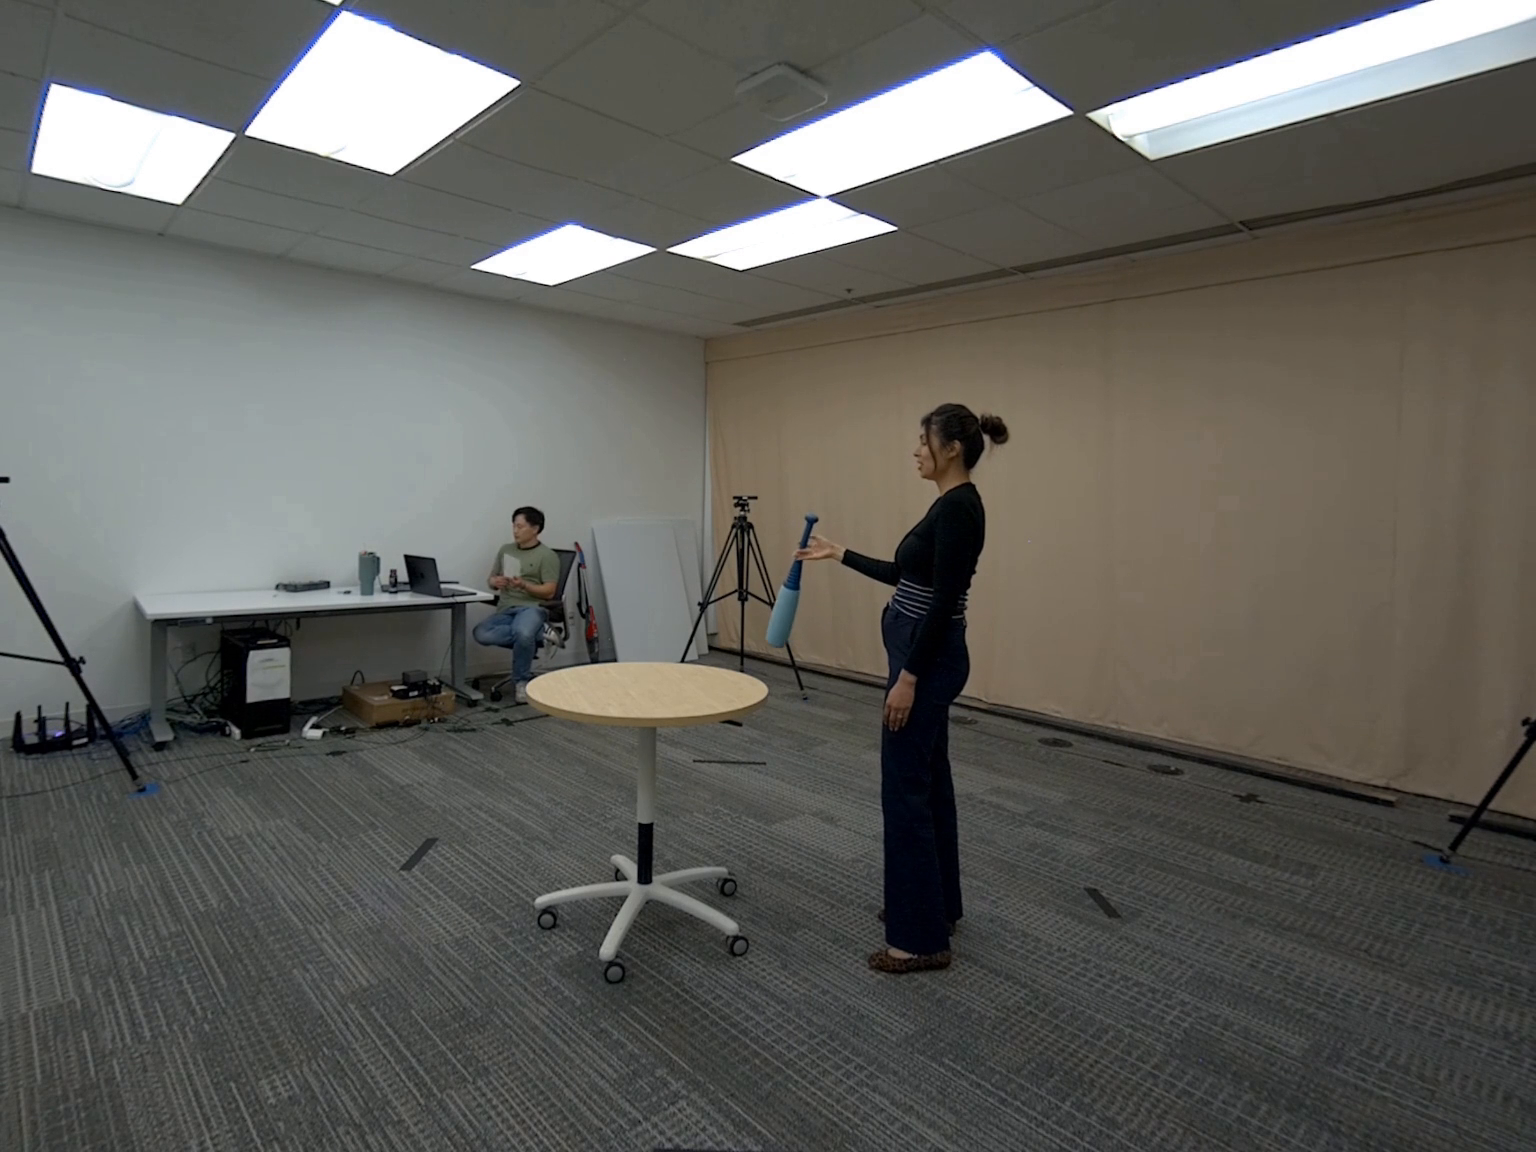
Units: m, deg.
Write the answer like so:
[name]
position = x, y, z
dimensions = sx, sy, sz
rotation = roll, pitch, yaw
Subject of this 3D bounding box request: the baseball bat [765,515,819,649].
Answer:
[baseball bat]
position = 0.090, 0.018, 3.172
dimensions = 0.088, 0.538, 0.090
rotation = 14, 19, -7
